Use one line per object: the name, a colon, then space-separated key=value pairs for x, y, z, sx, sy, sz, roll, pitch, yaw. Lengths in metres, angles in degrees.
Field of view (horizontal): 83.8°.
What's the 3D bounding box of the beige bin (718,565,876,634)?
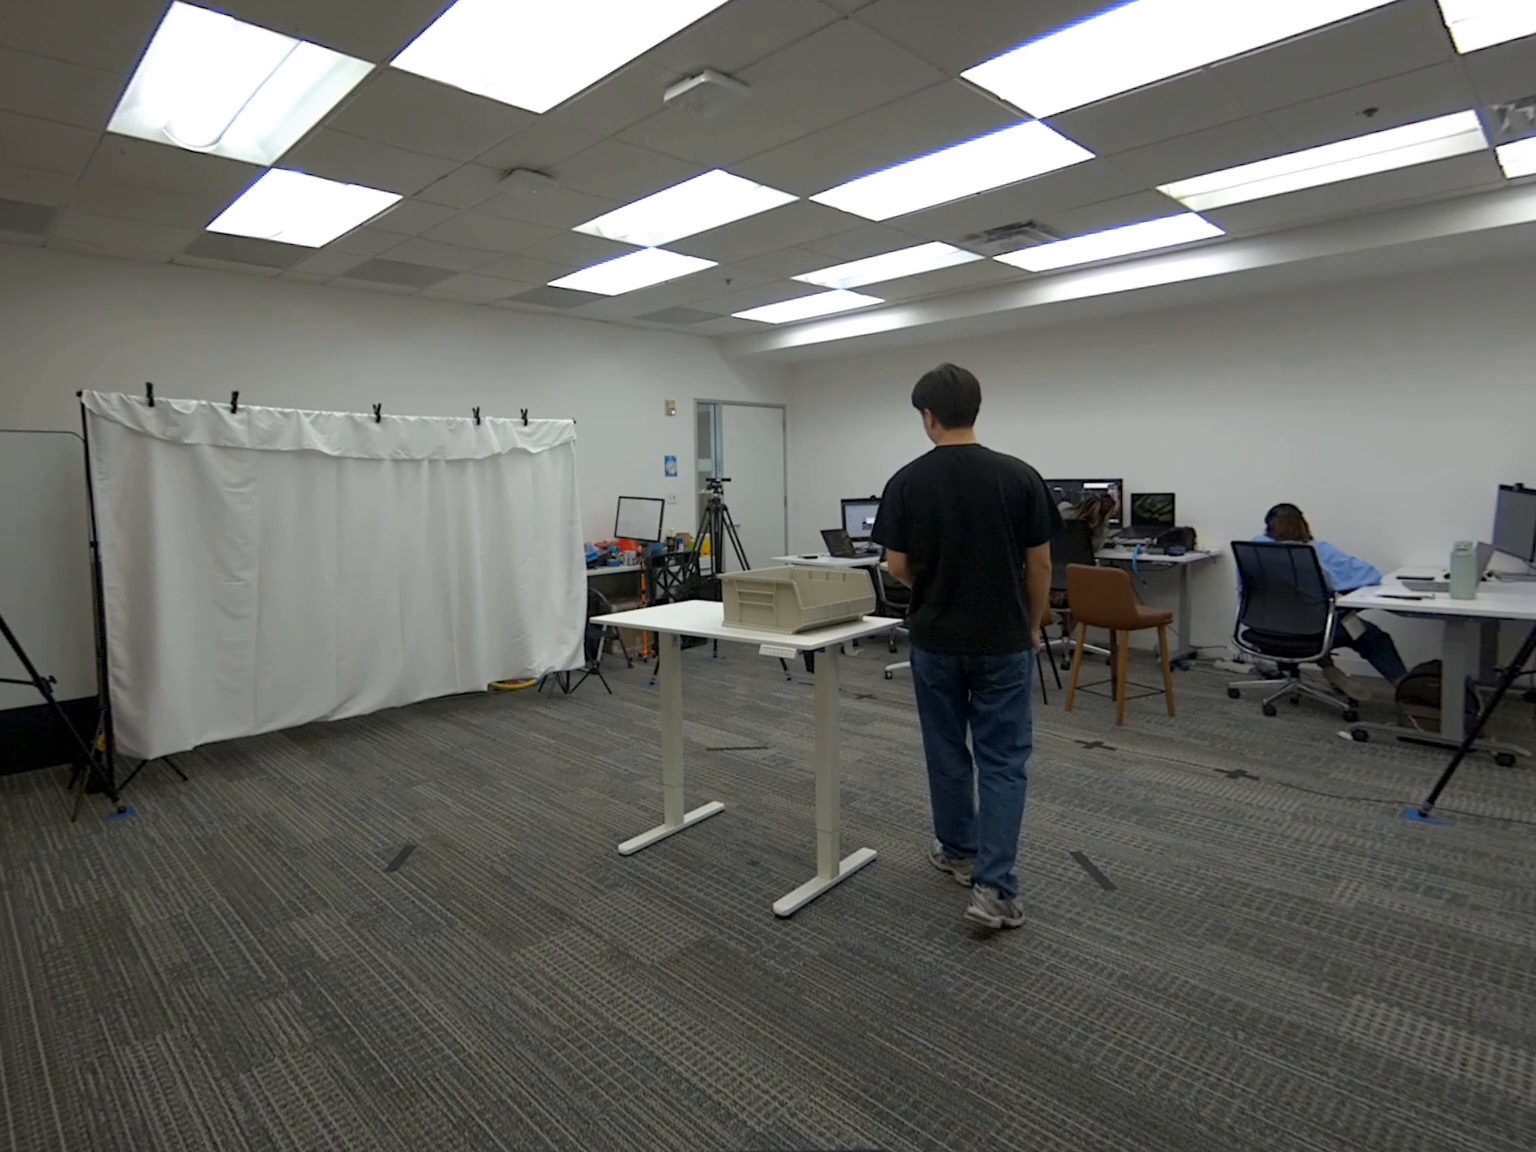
beige bin: x=0.104 y=0.082 z=2.993 sx=0.388 sy=0.188 sz=0.411 roll=2 pitch=6 yaw=42
